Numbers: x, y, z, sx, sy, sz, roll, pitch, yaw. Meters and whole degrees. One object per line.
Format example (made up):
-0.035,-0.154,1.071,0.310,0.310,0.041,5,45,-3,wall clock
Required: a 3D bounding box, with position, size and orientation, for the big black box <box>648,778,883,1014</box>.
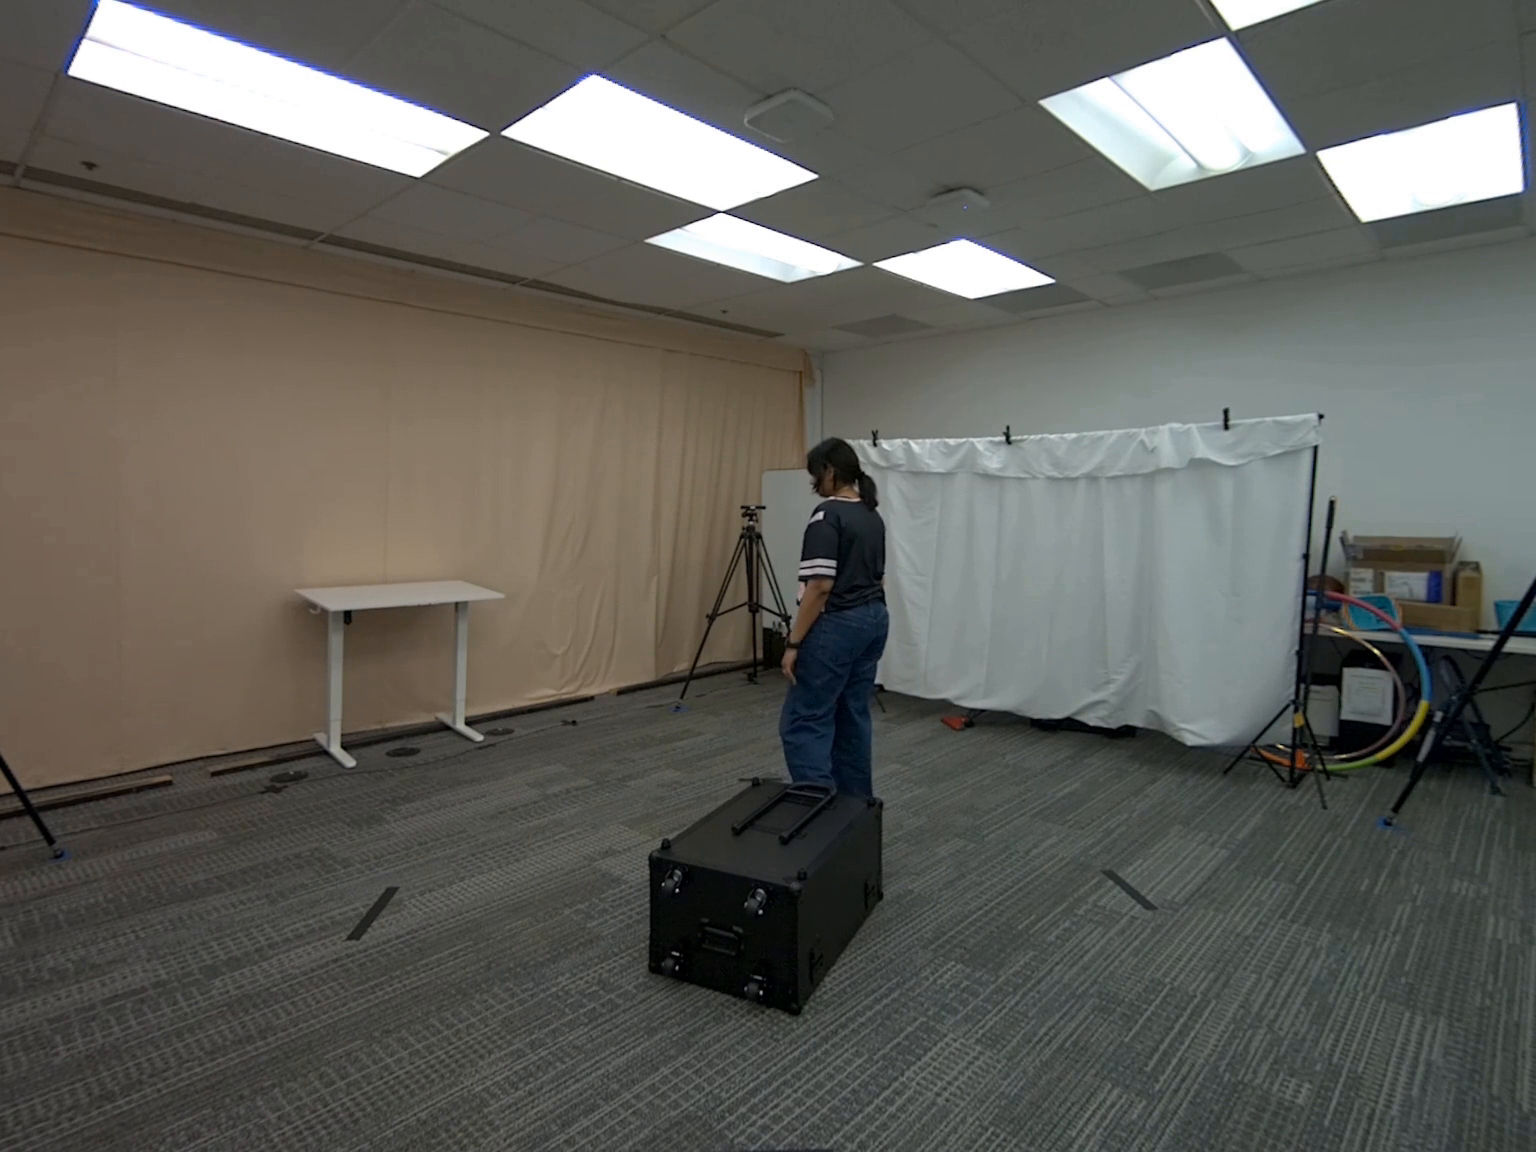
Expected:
0.017,0.981,2.700,0.537,0.384,0.848,3,6,25,big black box
